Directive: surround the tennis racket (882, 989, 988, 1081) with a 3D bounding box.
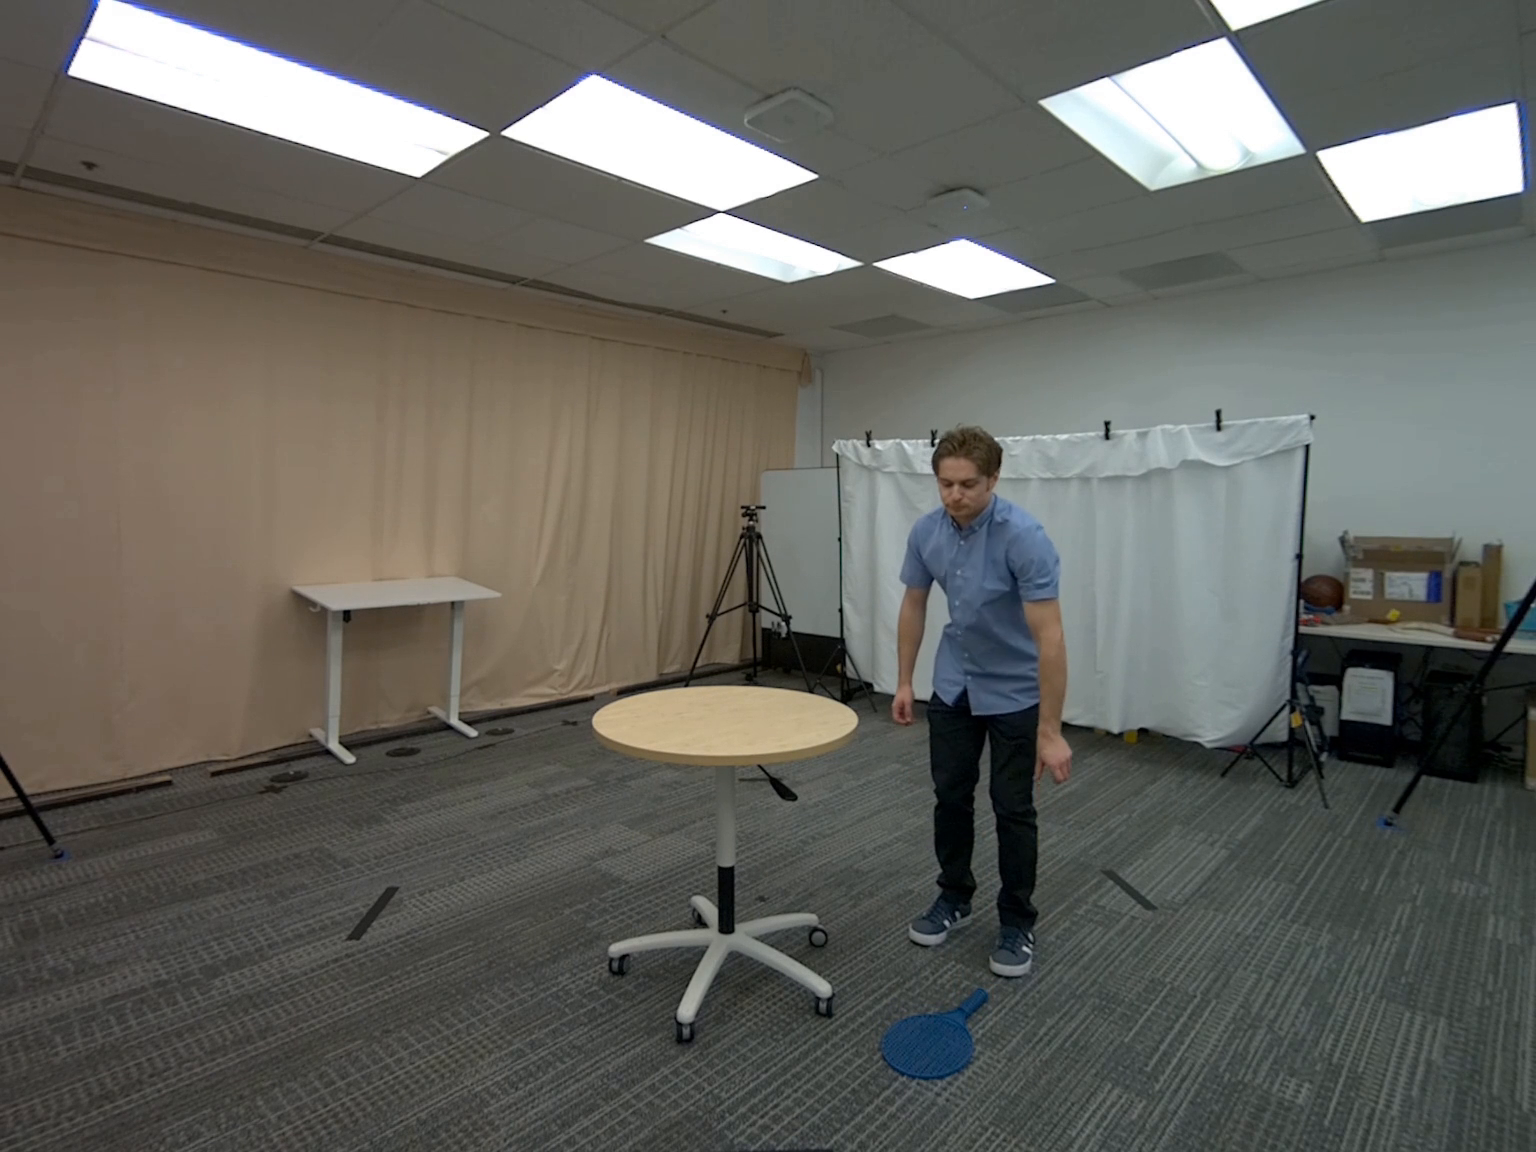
[{"bbox_3d":[0.472,1.197,2.217,0.221,0.031,0.420,3,7,42],"label":"tennis racket"}]
